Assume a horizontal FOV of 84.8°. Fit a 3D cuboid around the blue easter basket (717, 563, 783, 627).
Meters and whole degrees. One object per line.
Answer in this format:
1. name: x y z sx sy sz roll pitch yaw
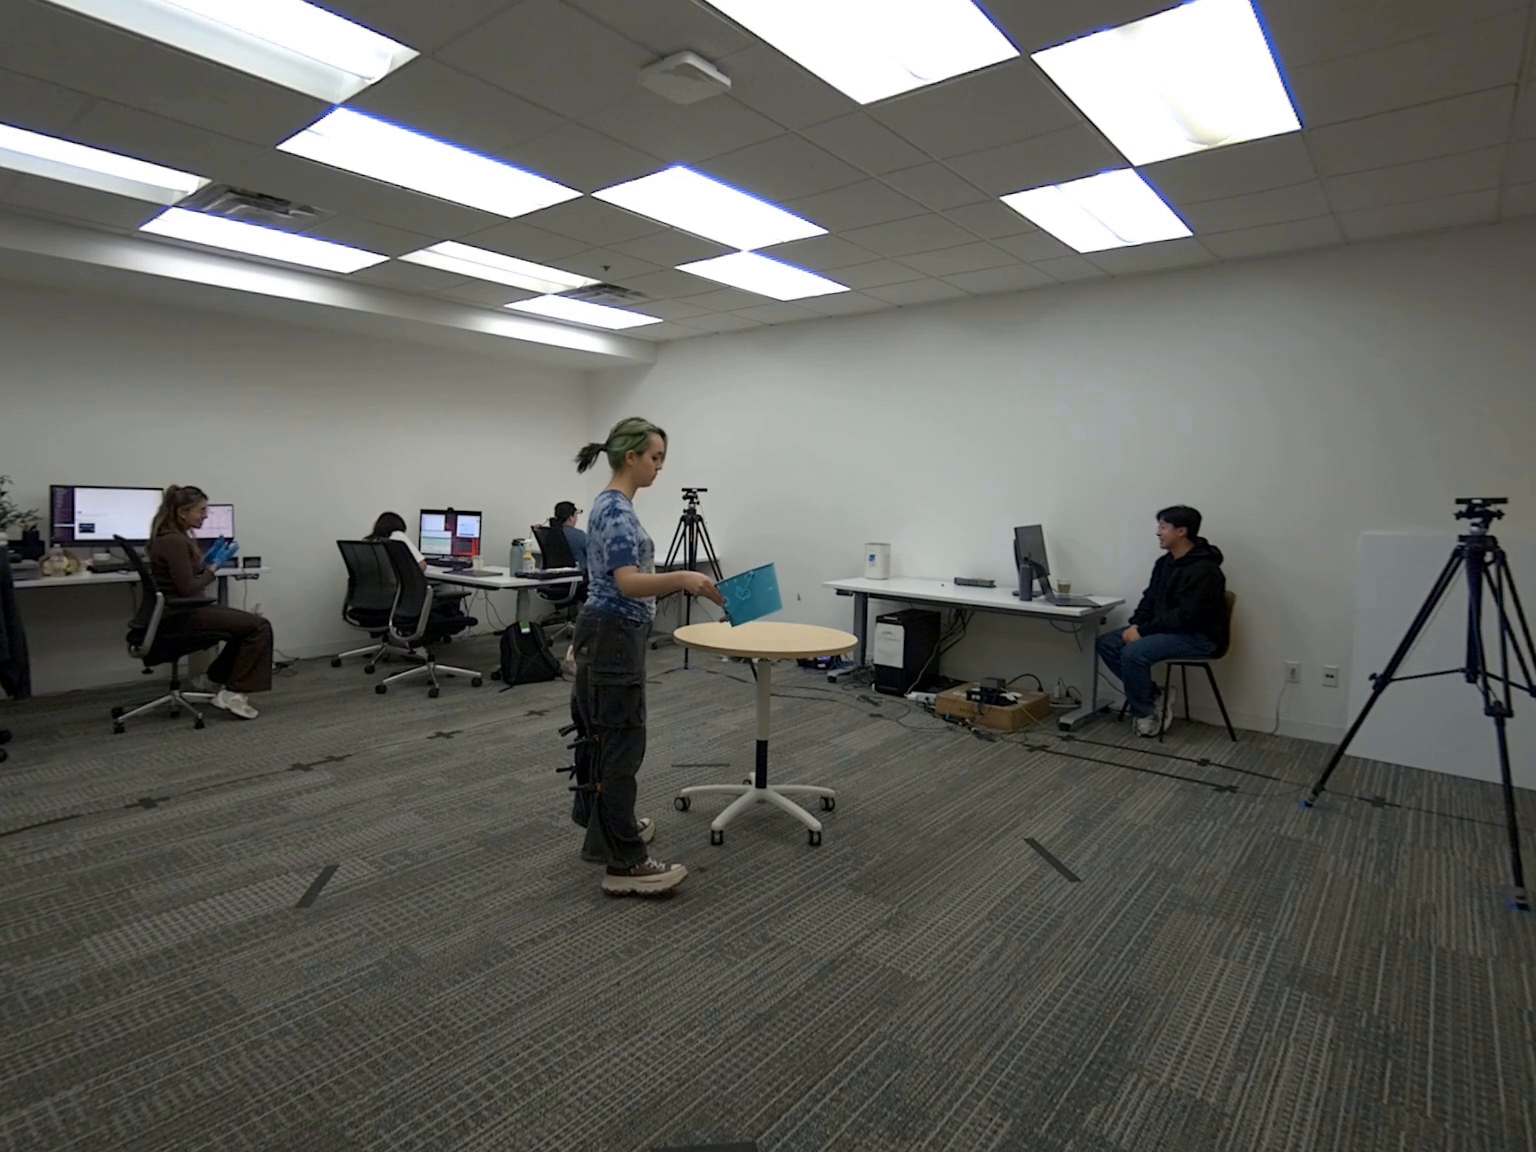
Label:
1. blue easter basket: -0.078 0.067 2.789 0.243 0.156 0.243 -18 0 -2
